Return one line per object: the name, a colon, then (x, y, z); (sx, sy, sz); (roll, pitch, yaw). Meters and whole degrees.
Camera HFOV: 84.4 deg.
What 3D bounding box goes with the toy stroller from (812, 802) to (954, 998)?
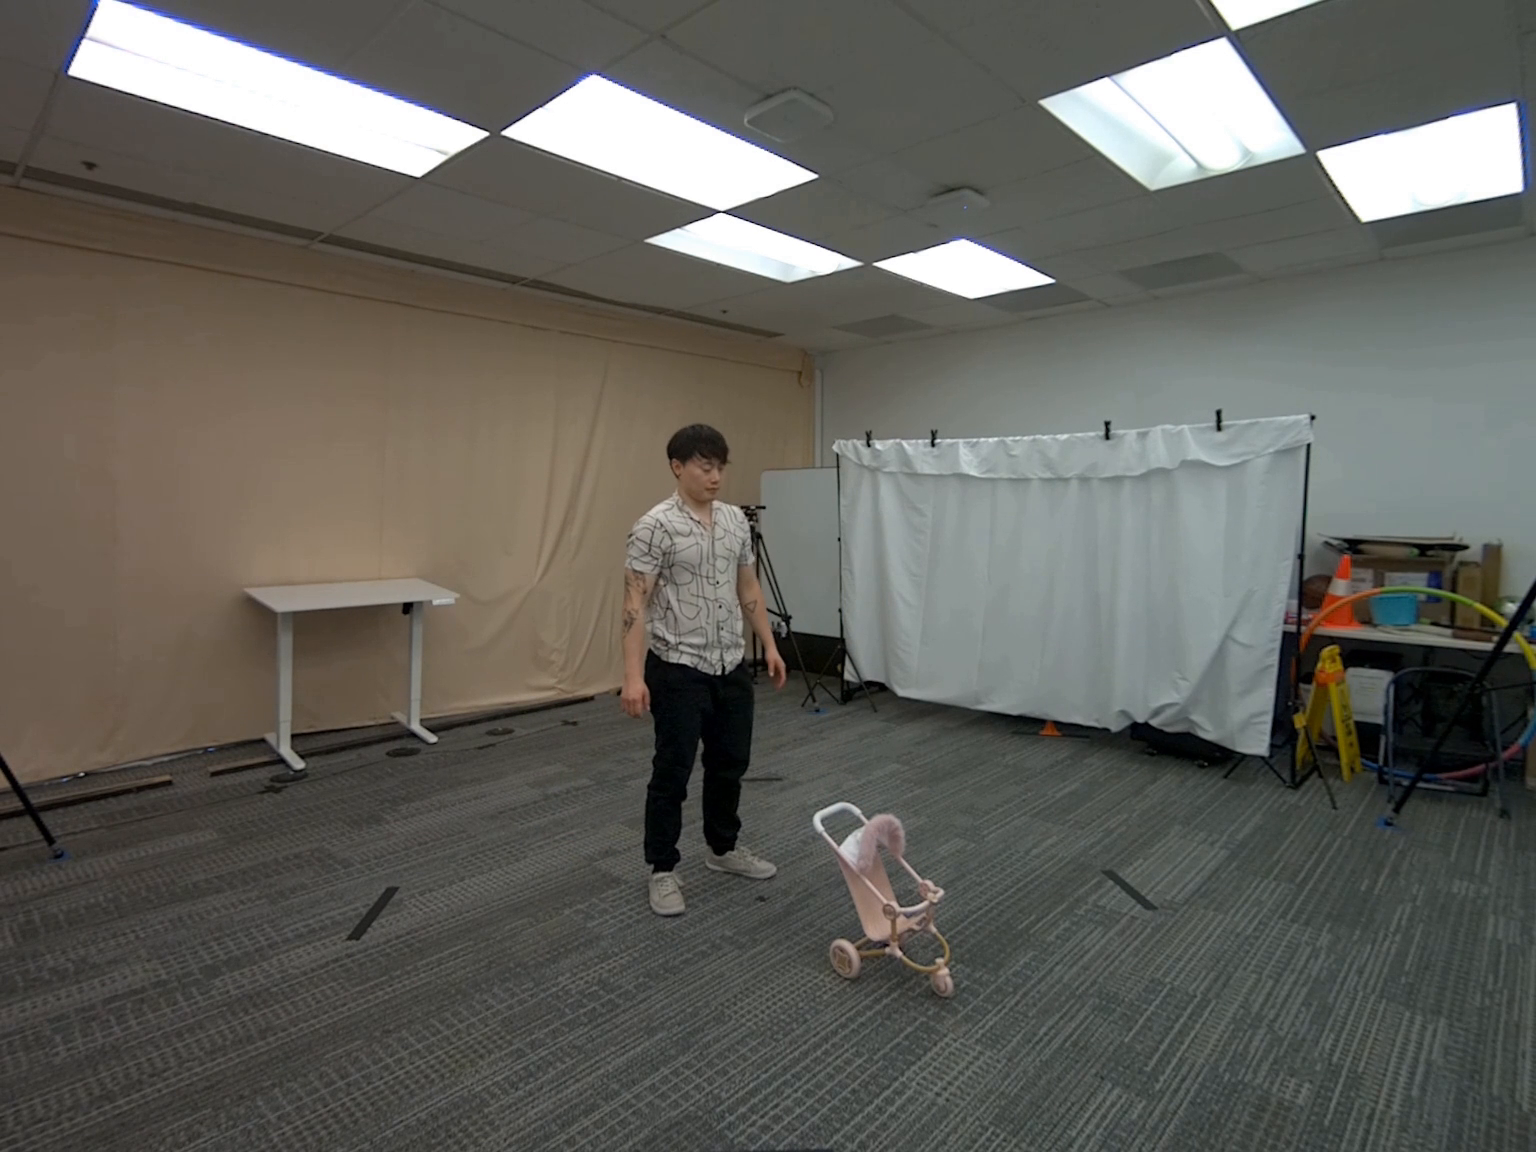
toy stroller: (0.361, 0.956, 2.515); (0.273, 0.539, 0.349); (-4, -11, -42)
